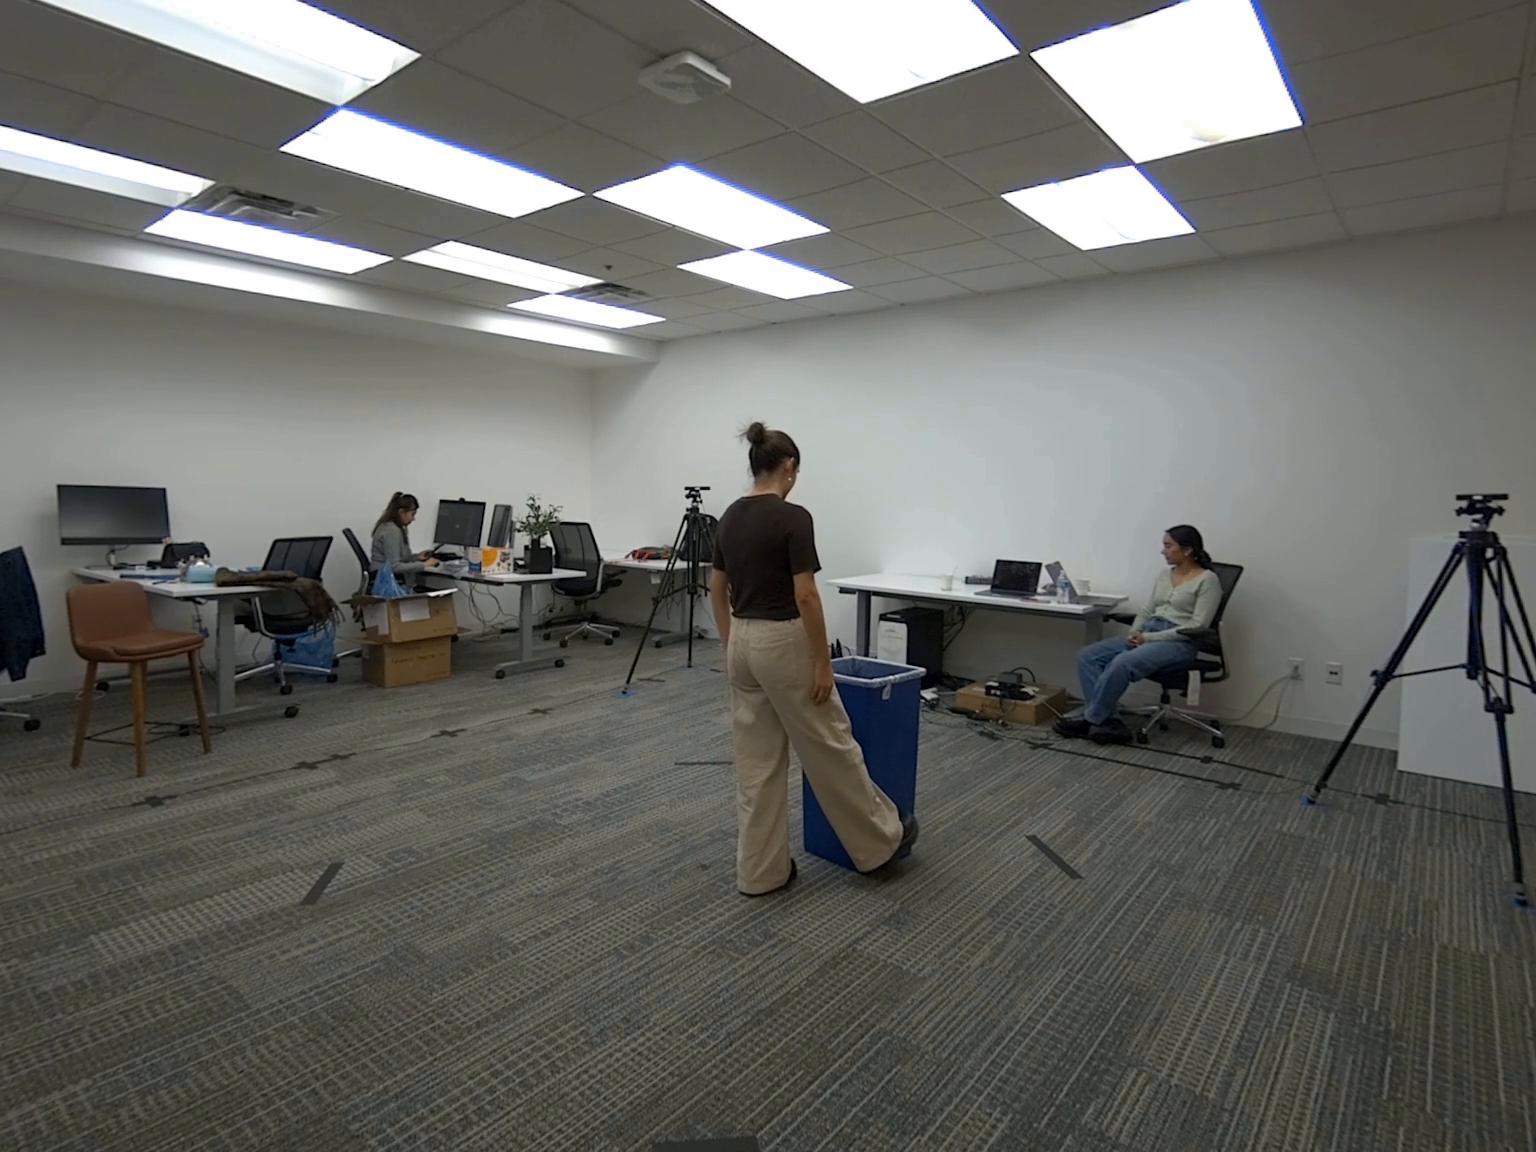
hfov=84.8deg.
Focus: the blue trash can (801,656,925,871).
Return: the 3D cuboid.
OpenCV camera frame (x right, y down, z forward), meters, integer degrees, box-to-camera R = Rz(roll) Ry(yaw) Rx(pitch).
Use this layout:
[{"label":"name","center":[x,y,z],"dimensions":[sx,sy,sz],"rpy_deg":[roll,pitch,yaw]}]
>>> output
[{"label":"blue trash can","center":[0.345,0.700,3.270],"dimensions":[0.391,0.712,0.363],"rpy_deg":[4,4,44]}]
